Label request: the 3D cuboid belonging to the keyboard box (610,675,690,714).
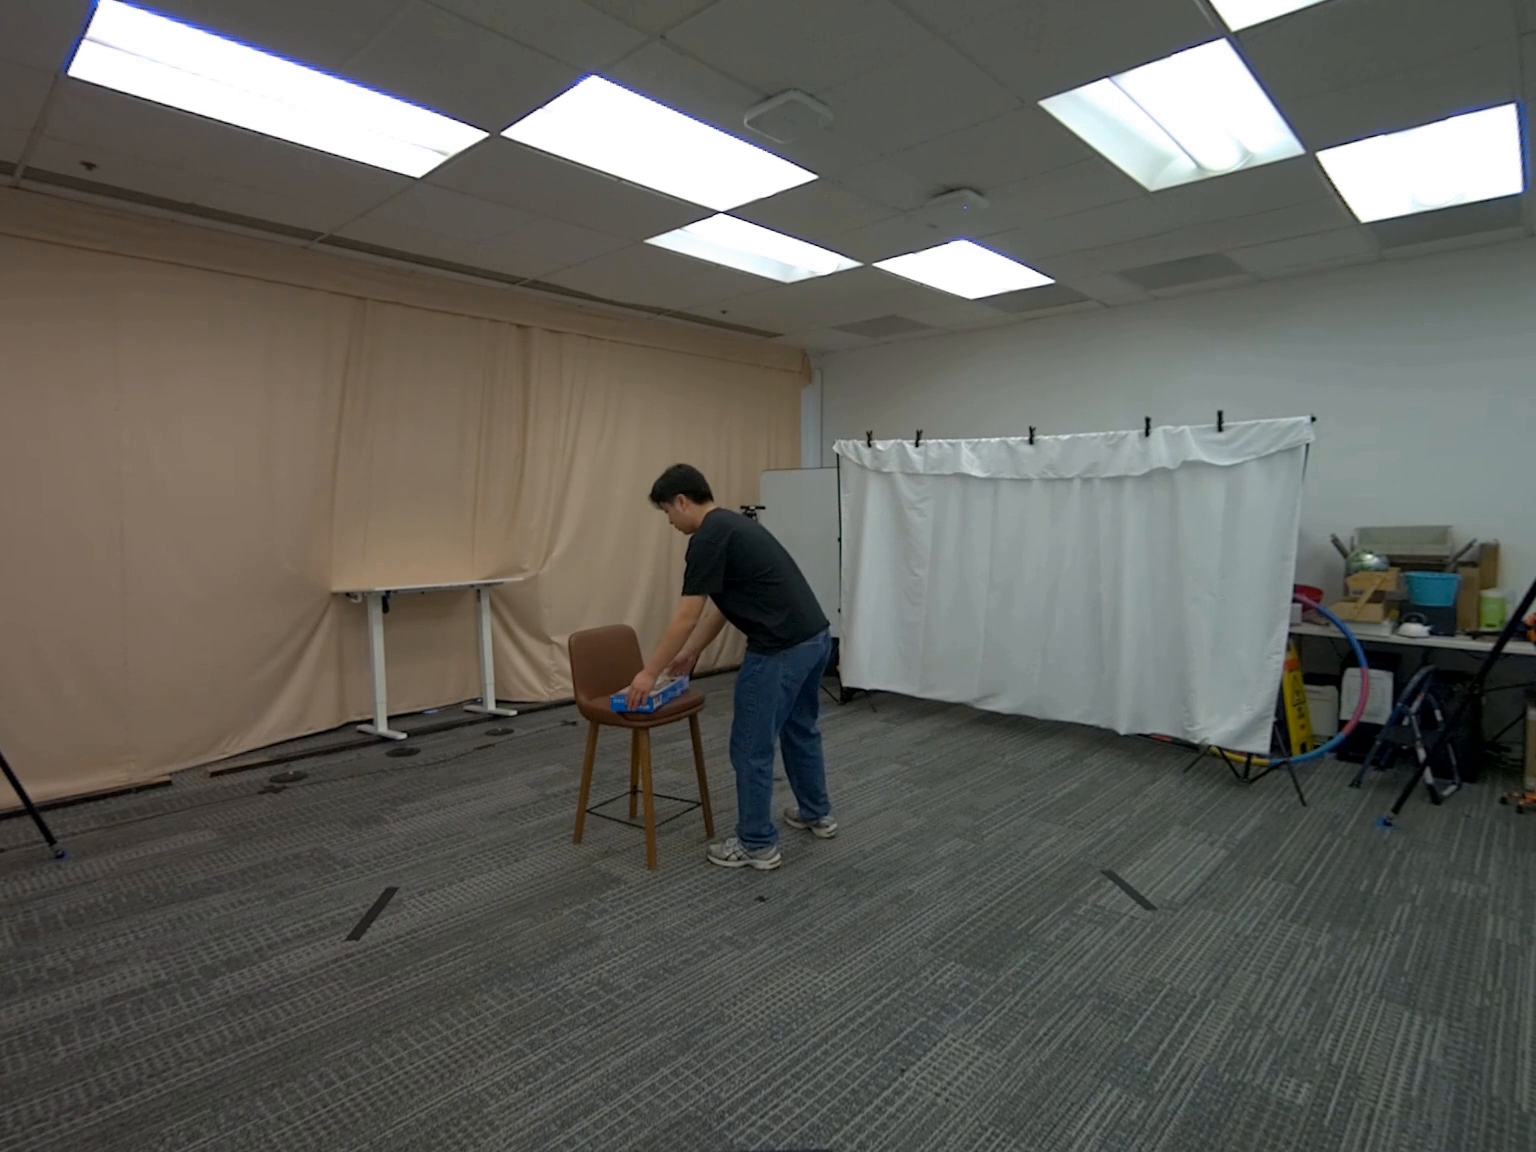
[{"bbox_3d":[-0.466,0.473,3.413,0.179,0.059,0.430,0,4,16],"label":"keyboard box"}]
